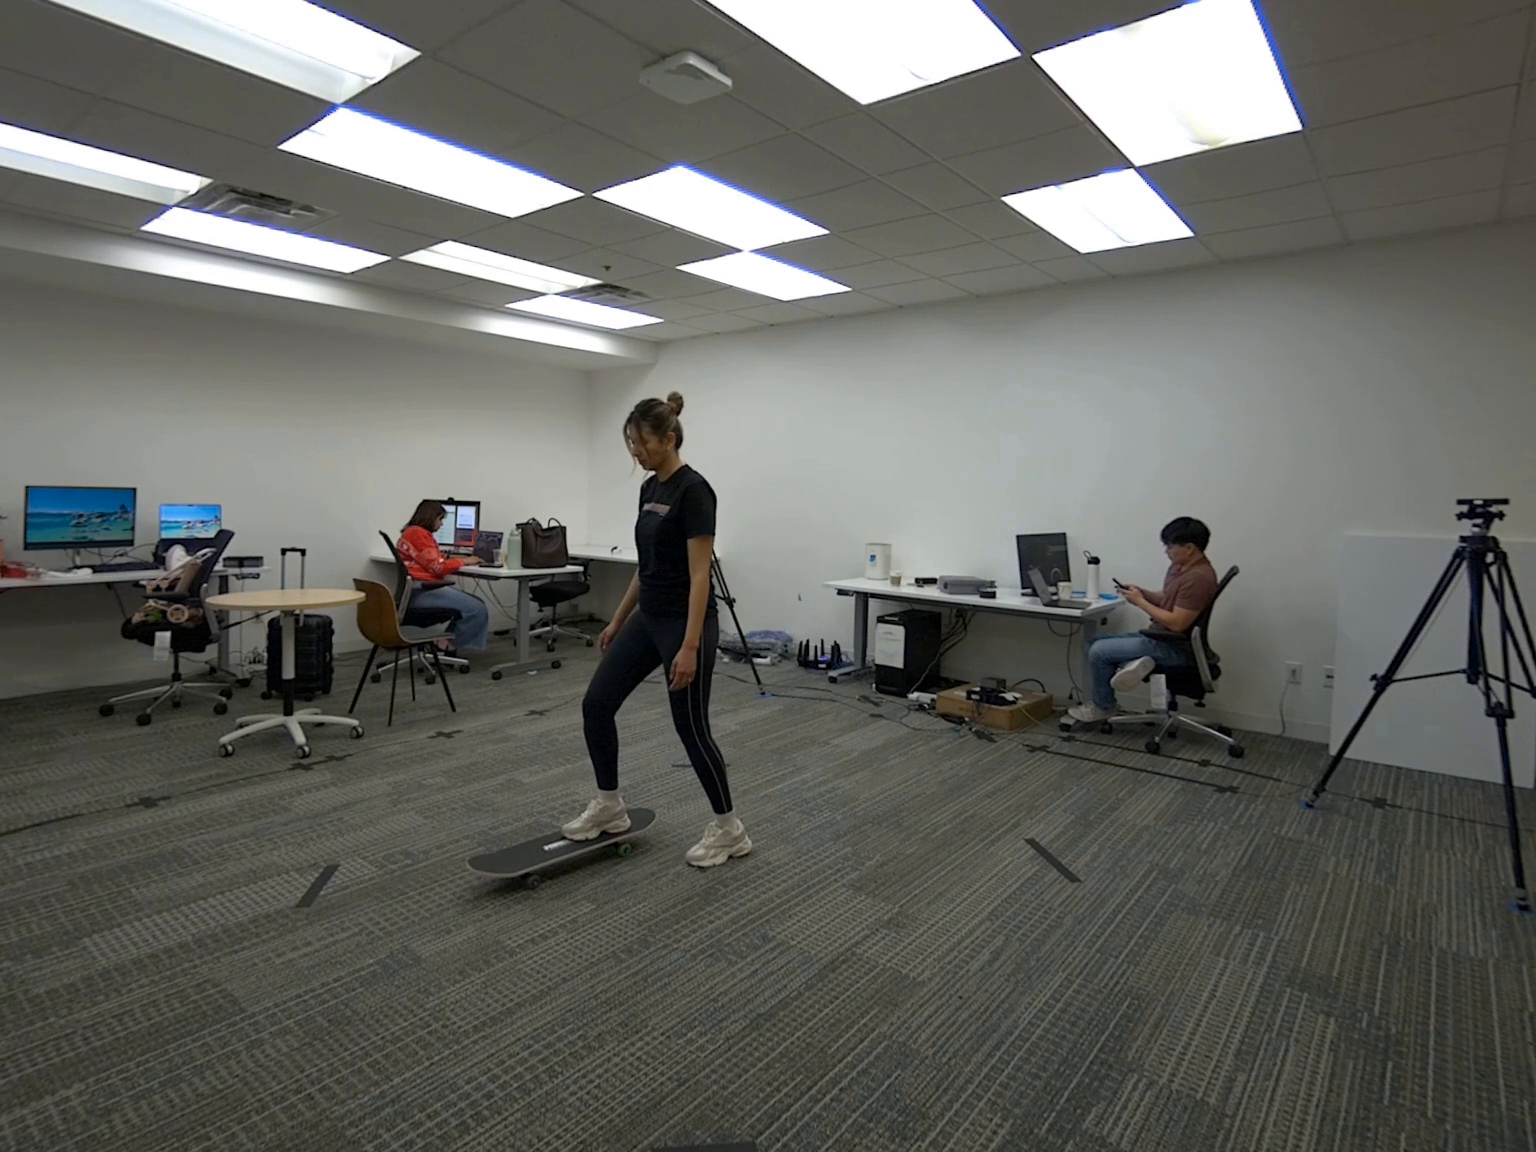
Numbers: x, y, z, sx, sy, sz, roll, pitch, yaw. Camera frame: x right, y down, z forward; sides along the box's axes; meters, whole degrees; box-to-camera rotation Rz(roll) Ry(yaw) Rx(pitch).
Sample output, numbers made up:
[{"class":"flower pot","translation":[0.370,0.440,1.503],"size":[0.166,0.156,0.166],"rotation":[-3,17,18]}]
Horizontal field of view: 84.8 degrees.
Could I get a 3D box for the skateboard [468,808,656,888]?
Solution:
[{"class":"skateboard","translation":[-0.741,1.008,3.123],"size":[0.200,0.110,0.762],"rotation":[5,7,44]}]
